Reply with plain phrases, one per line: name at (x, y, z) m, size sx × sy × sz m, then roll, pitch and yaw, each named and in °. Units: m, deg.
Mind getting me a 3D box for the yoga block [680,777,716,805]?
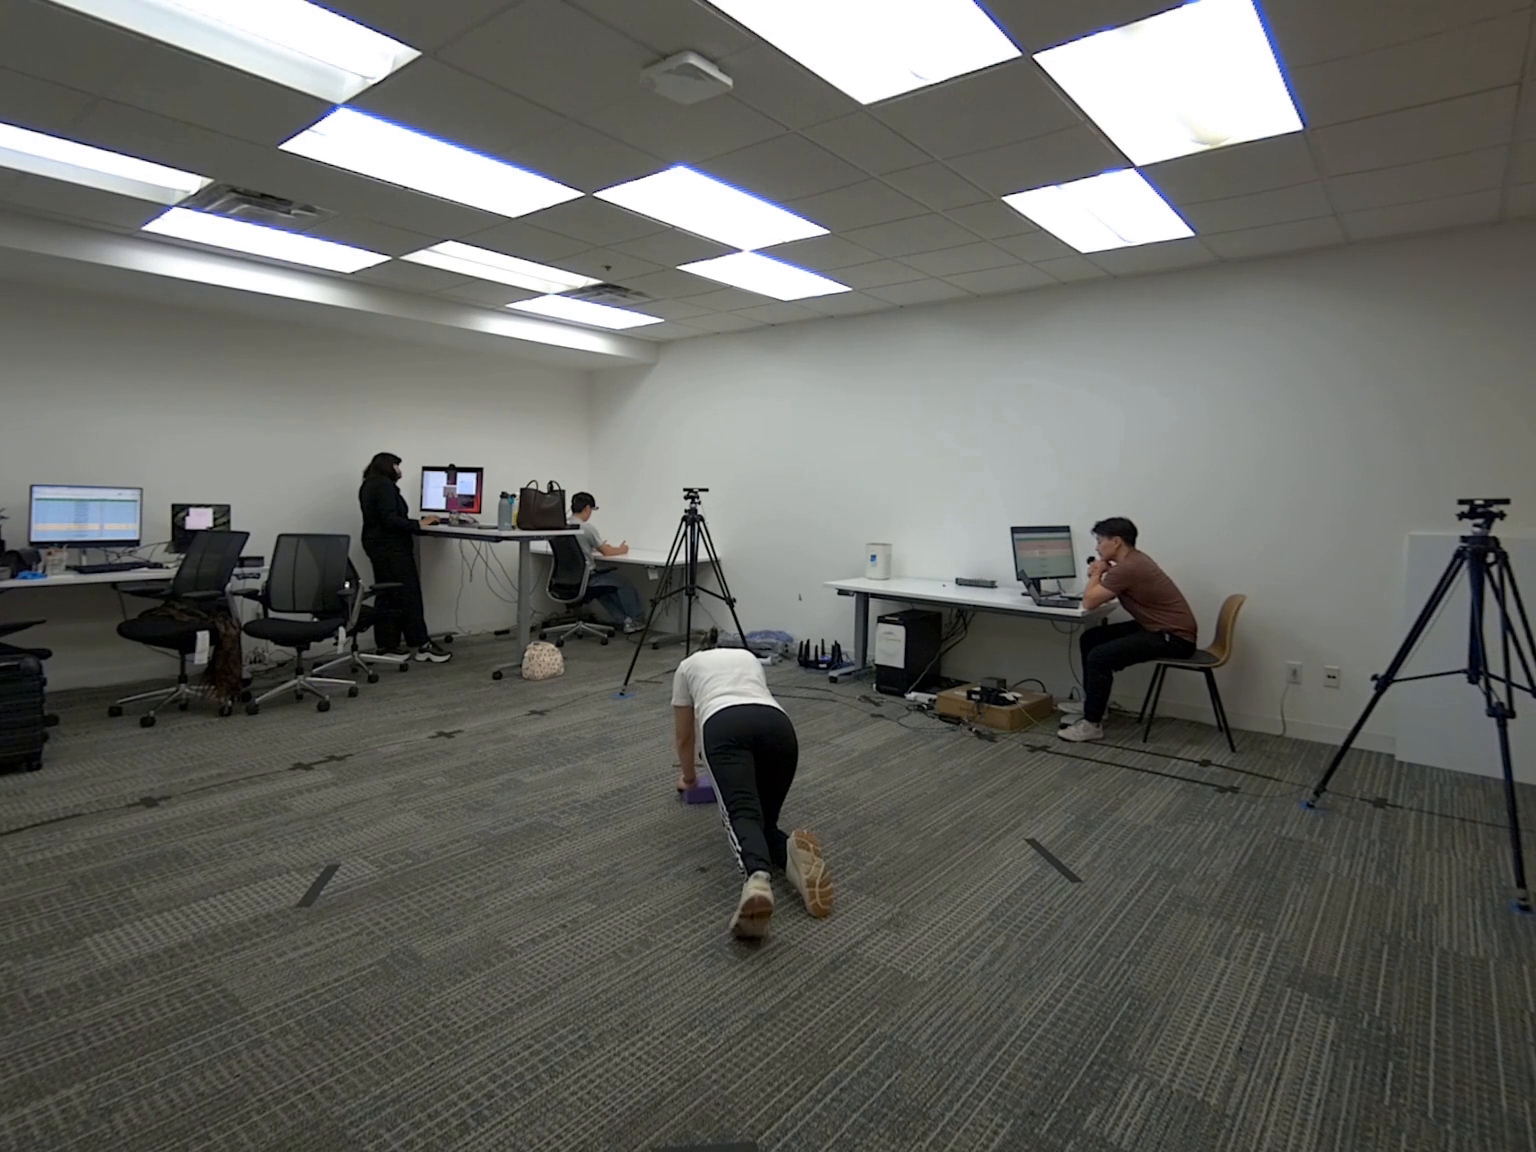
yoga block at (-0.278, 0.959, 3.839) m, size 0.226 × 0.076 × 0.152 m, roll -2°, pitch 6°, yaw -15°
